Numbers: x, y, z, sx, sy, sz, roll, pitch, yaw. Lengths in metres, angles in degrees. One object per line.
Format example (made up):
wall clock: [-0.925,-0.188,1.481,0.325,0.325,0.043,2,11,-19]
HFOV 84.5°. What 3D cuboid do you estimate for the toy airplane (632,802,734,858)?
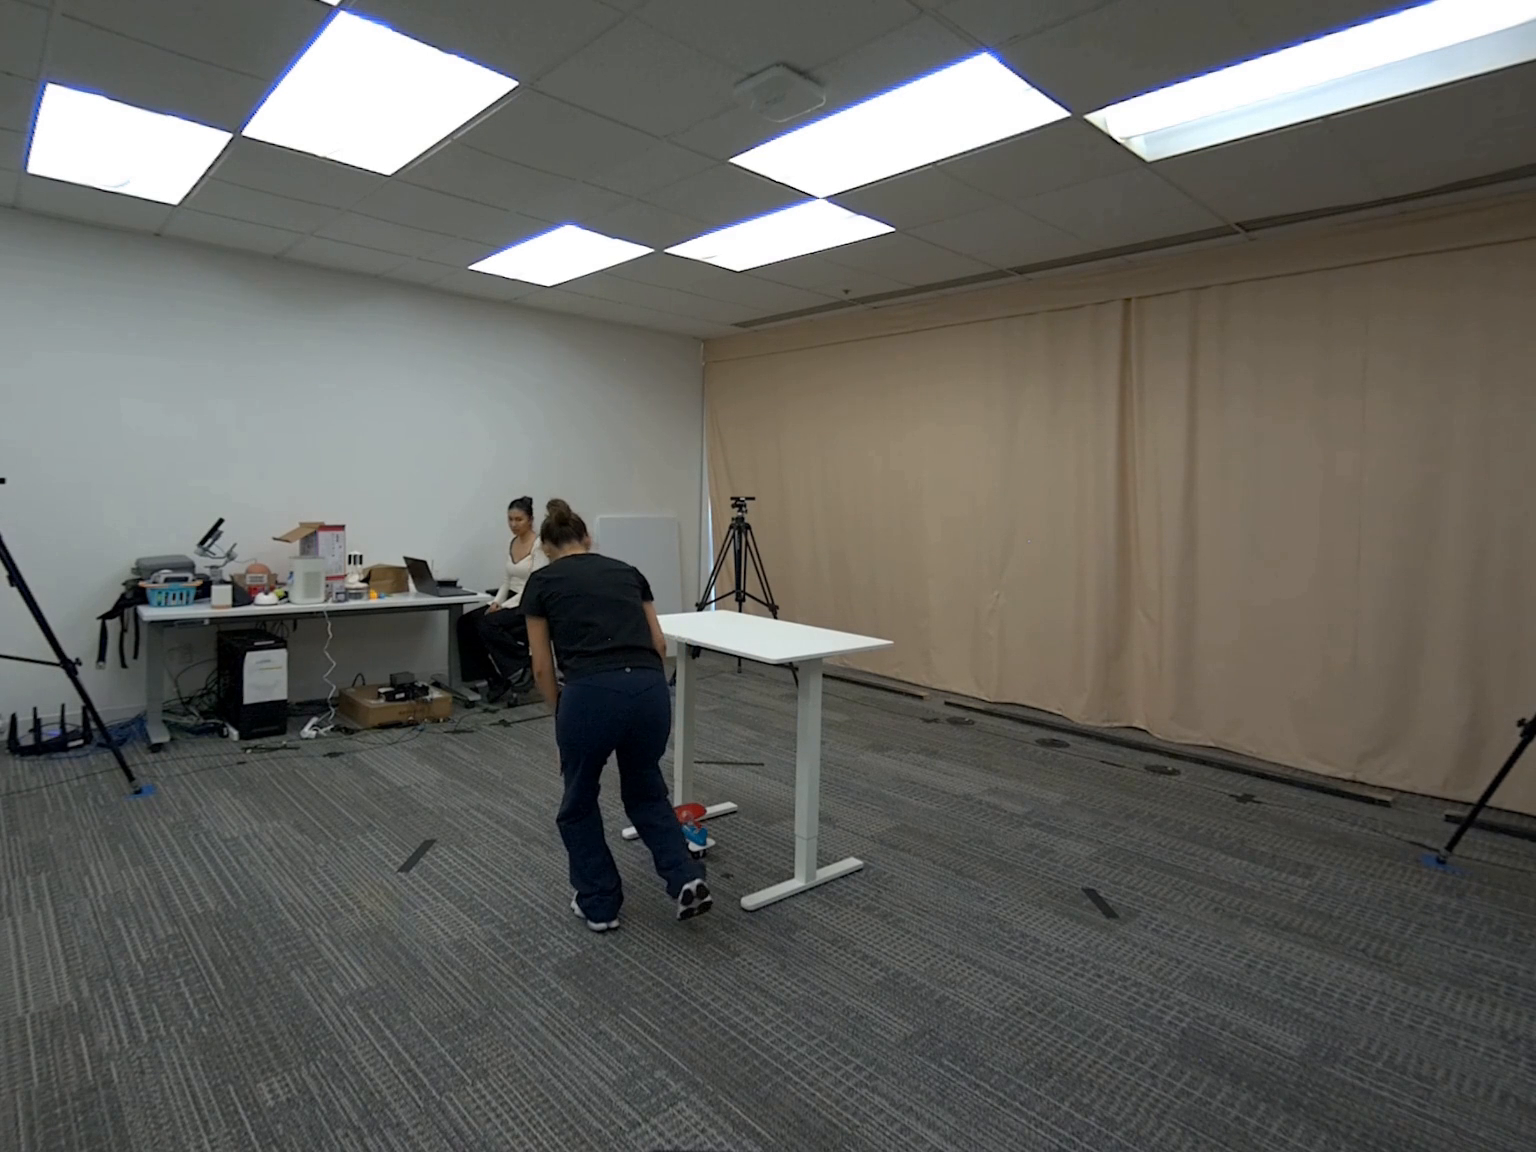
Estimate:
toy airplane: [-0.329,1.013,3.313,0.263,0.156,0.248,1,4,17]
